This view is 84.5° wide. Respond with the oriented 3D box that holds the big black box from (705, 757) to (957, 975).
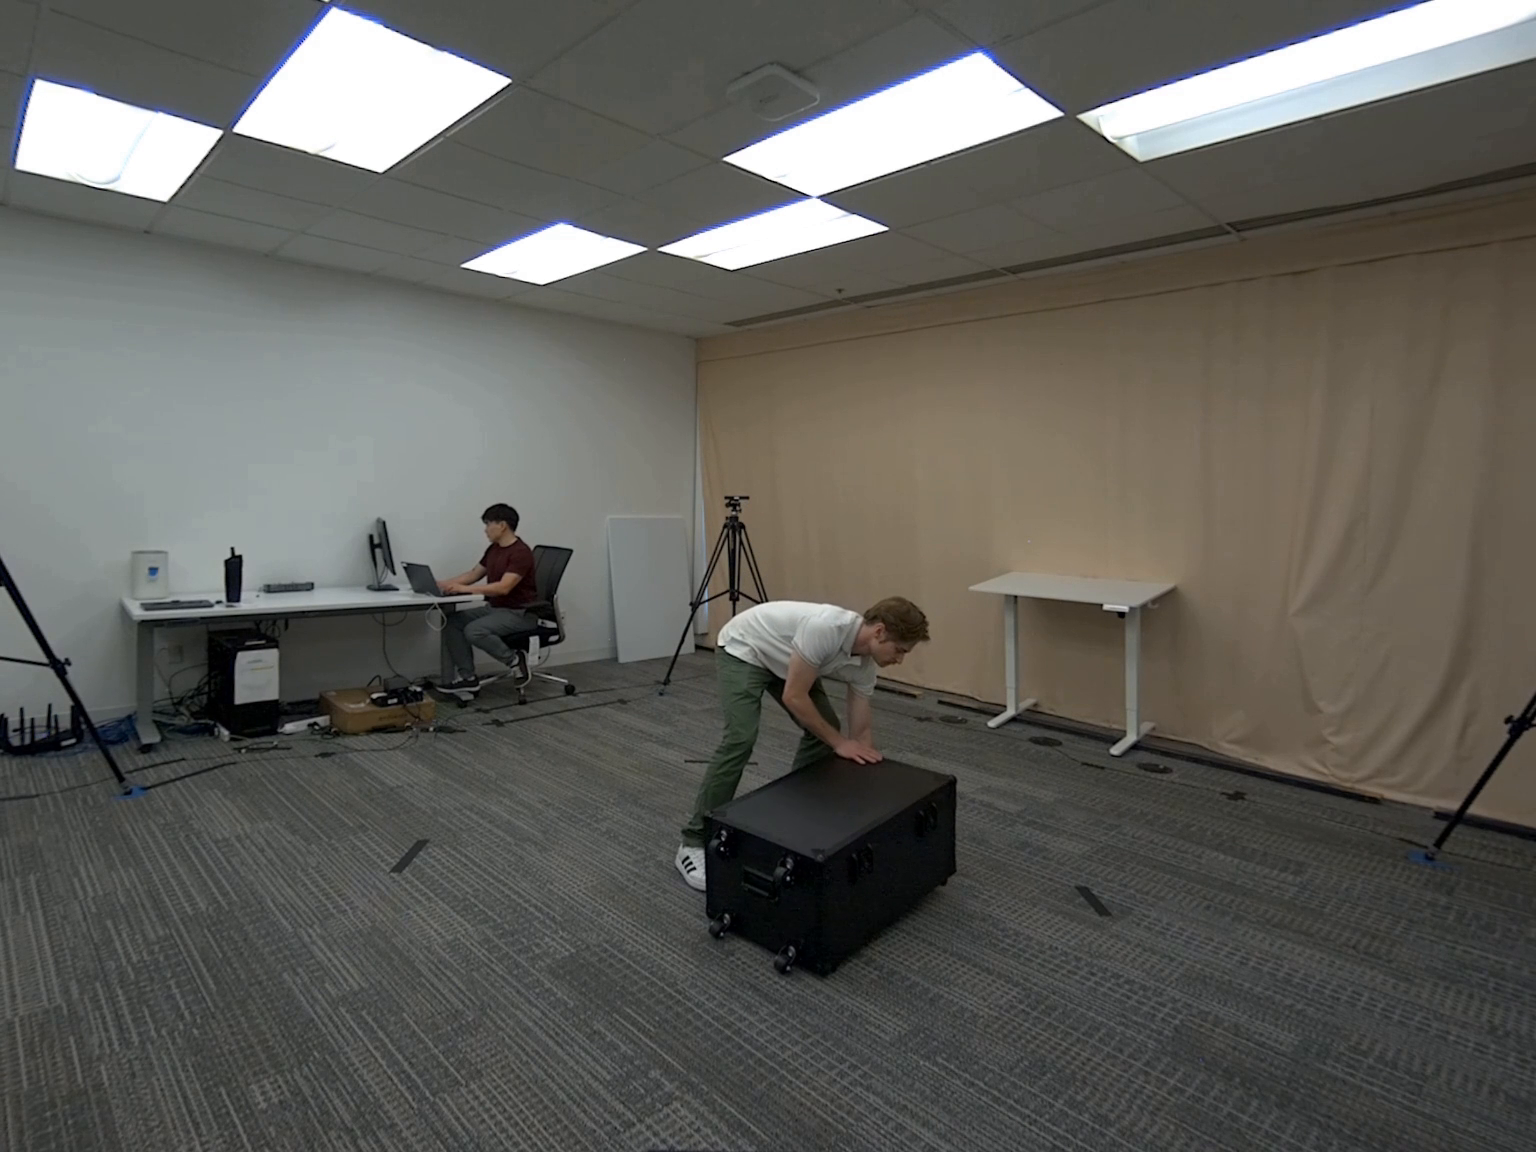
[{"bbox_3d":[0.195,0.923,2.822,0.537,0.382,0.851,8,13,42],"label":"big black box"}]
